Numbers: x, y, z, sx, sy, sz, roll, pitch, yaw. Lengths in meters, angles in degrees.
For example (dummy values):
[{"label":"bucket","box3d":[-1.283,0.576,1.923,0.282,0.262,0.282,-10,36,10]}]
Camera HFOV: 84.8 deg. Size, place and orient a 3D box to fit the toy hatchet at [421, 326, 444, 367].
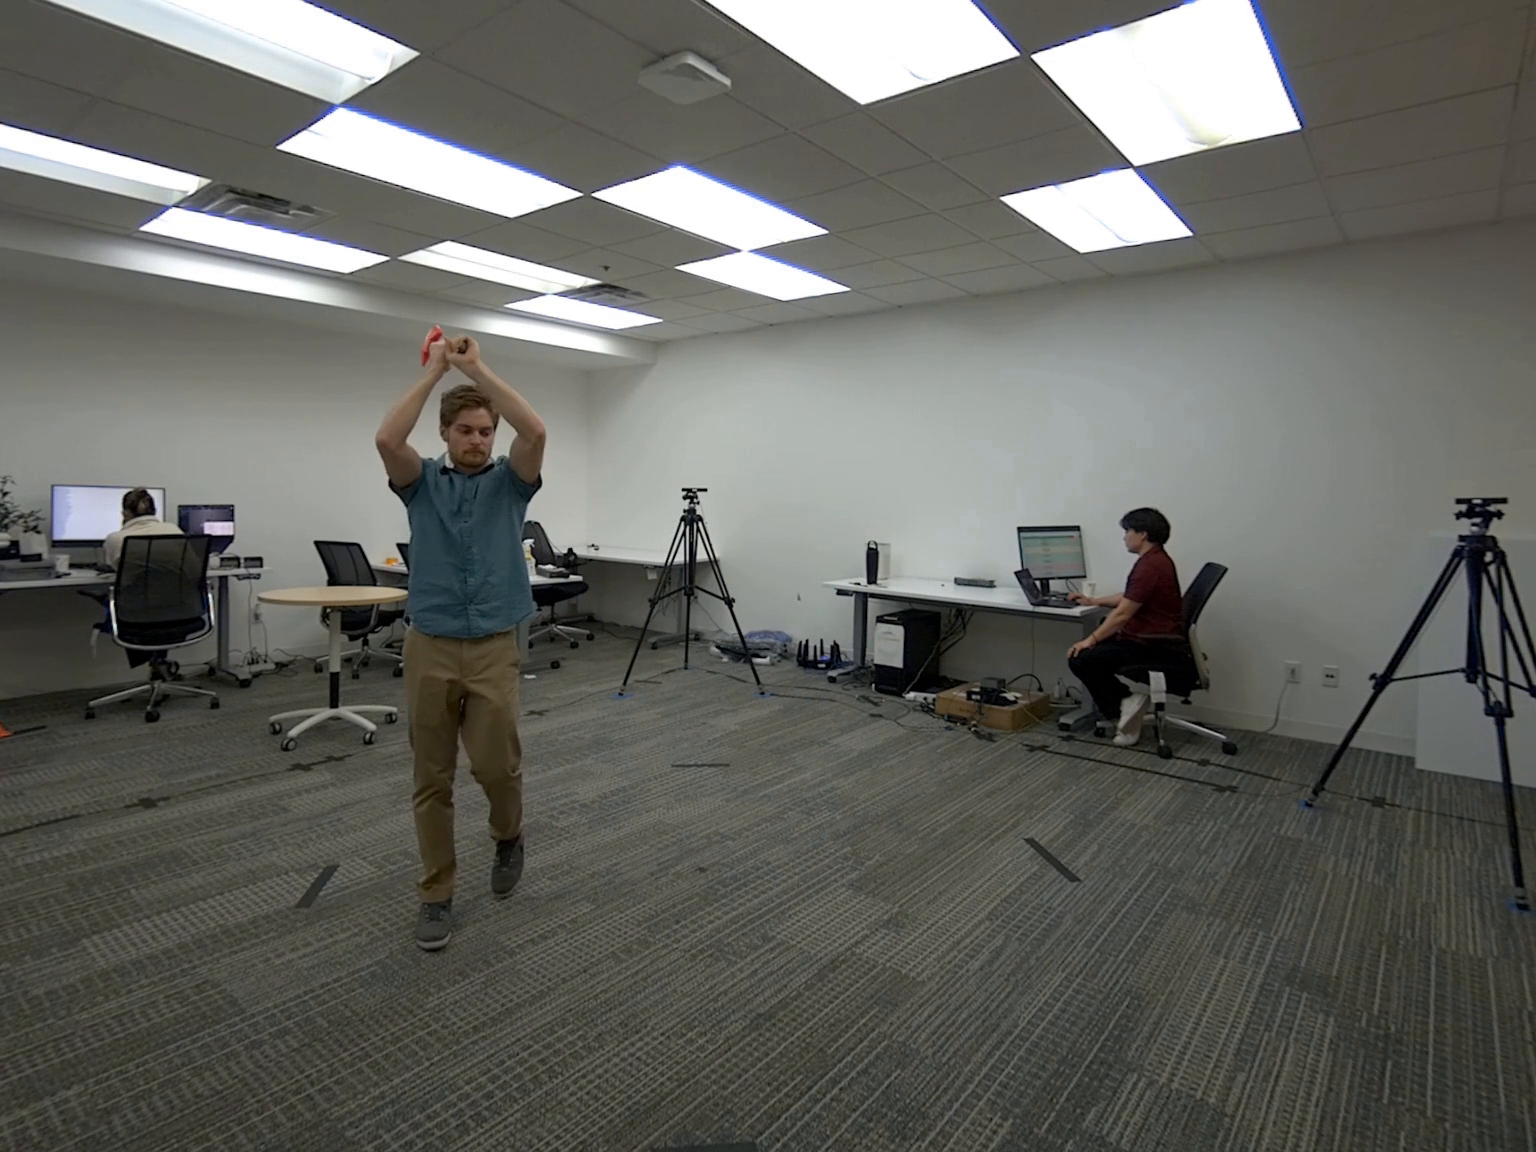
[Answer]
[{"label":"toy hatchet","box3d":[-0.998,-0.728,2.604,0.028,0.132,0.278,16,-12,-42]}]
